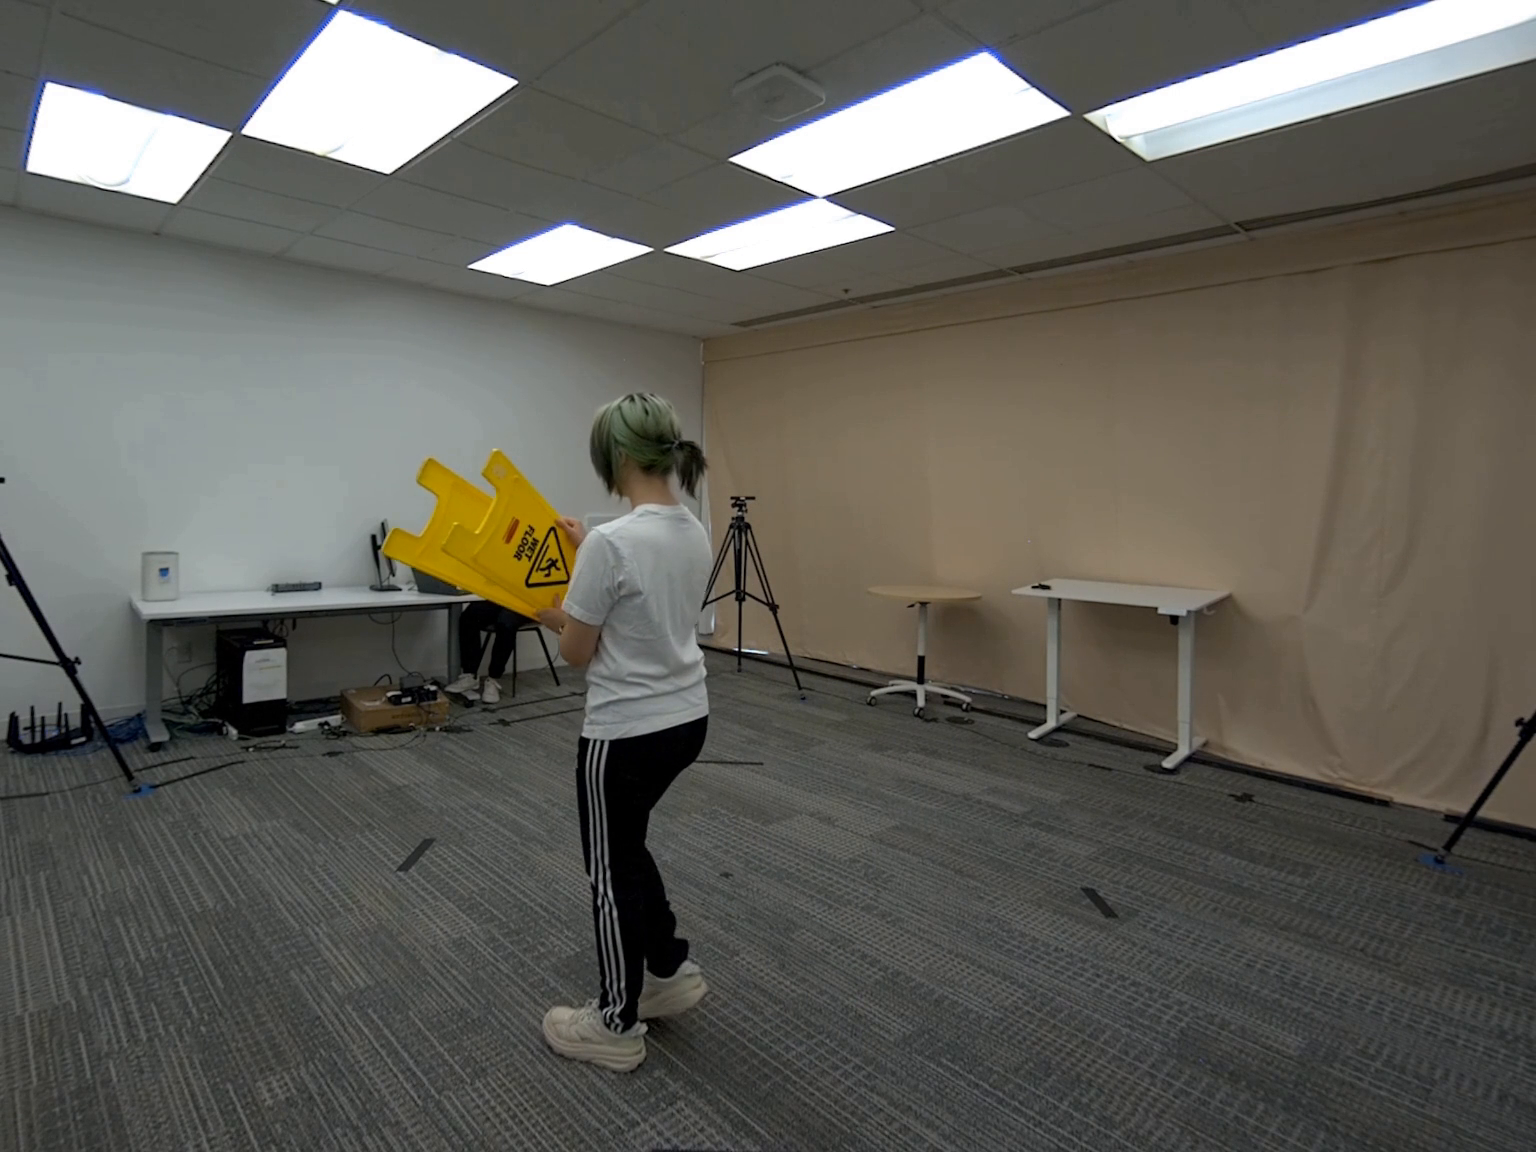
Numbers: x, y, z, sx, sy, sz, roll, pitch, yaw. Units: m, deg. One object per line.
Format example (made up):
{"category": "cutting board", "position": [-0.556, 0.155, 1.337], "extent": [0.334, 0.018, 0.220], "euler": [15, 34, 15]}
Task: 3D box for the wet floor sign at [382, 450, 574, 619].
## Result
{"category": "wet floor sign", "position": [-0.650, -0.035, 2.255], "extent": [0.296, 0.285, 0.625], "euler": [2, -26, 34]}
